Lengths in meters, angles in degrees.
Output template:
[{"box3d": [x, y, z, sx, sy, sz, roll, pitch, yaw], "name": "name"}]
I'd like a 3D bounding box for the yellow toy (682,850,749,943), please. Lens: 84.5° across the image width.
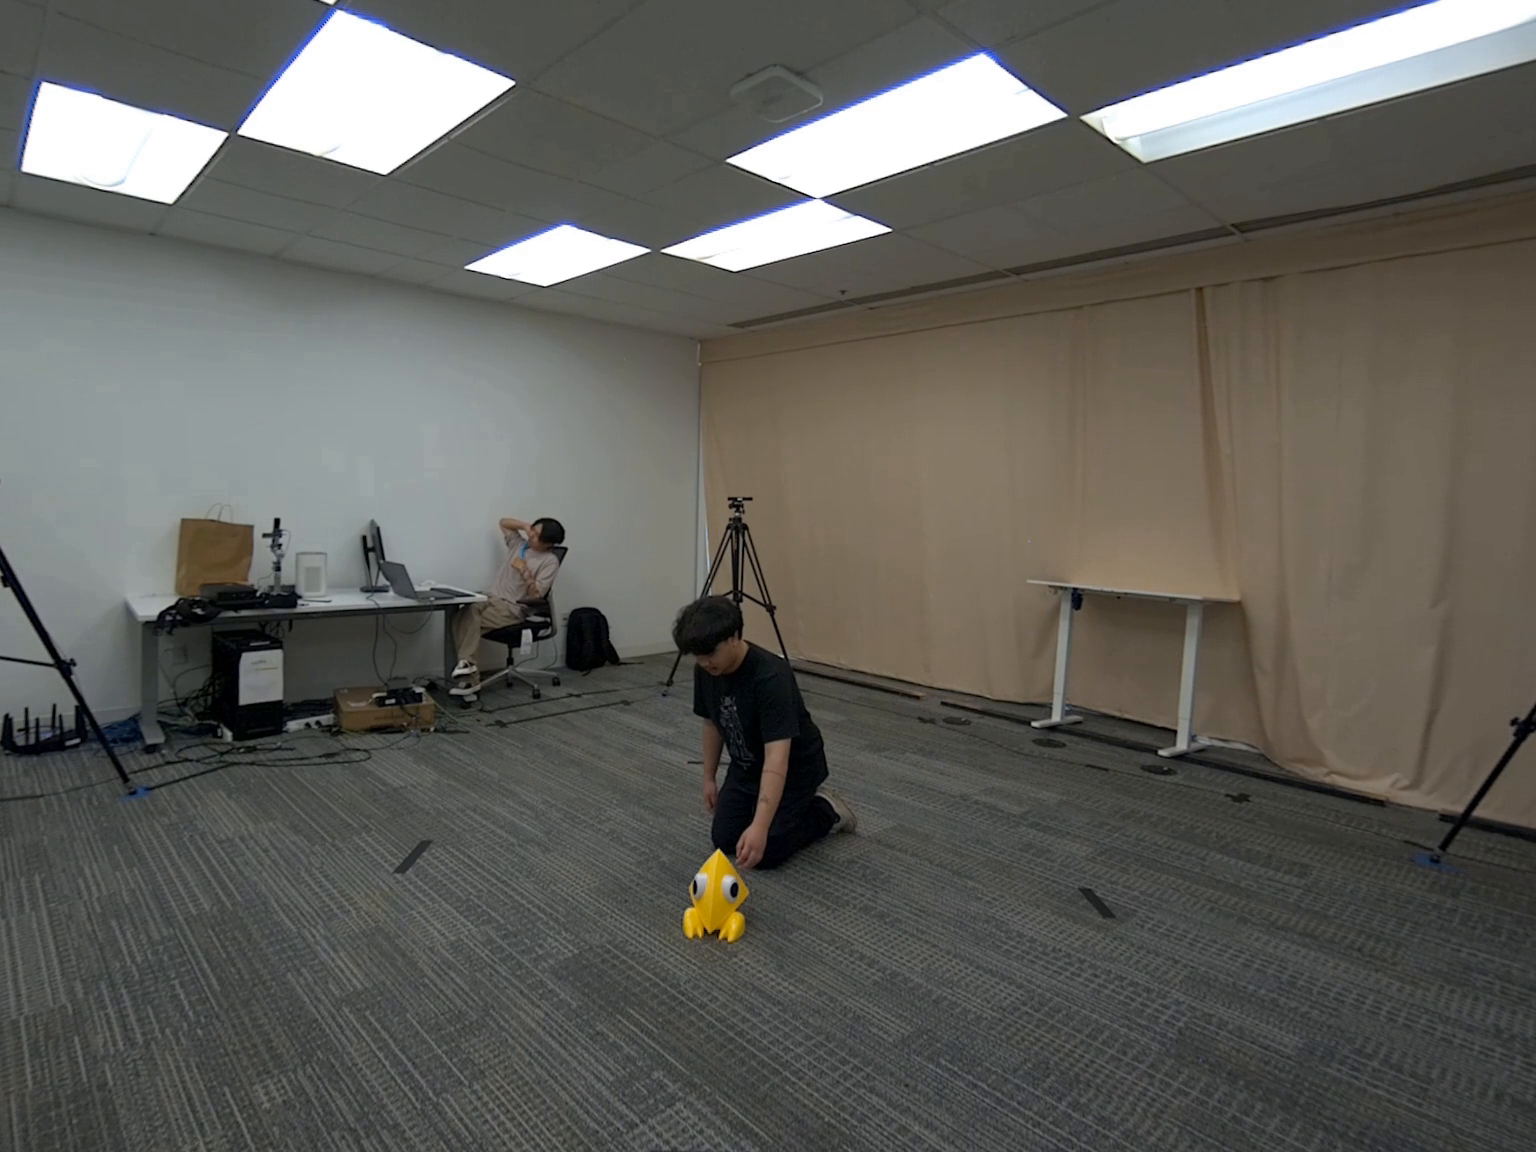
[{"box3d": [-0.189, 1.030, 2.725, 0.206, 0.230, 0.192, 2, 4, 6], "name": "yellow toy"}]
